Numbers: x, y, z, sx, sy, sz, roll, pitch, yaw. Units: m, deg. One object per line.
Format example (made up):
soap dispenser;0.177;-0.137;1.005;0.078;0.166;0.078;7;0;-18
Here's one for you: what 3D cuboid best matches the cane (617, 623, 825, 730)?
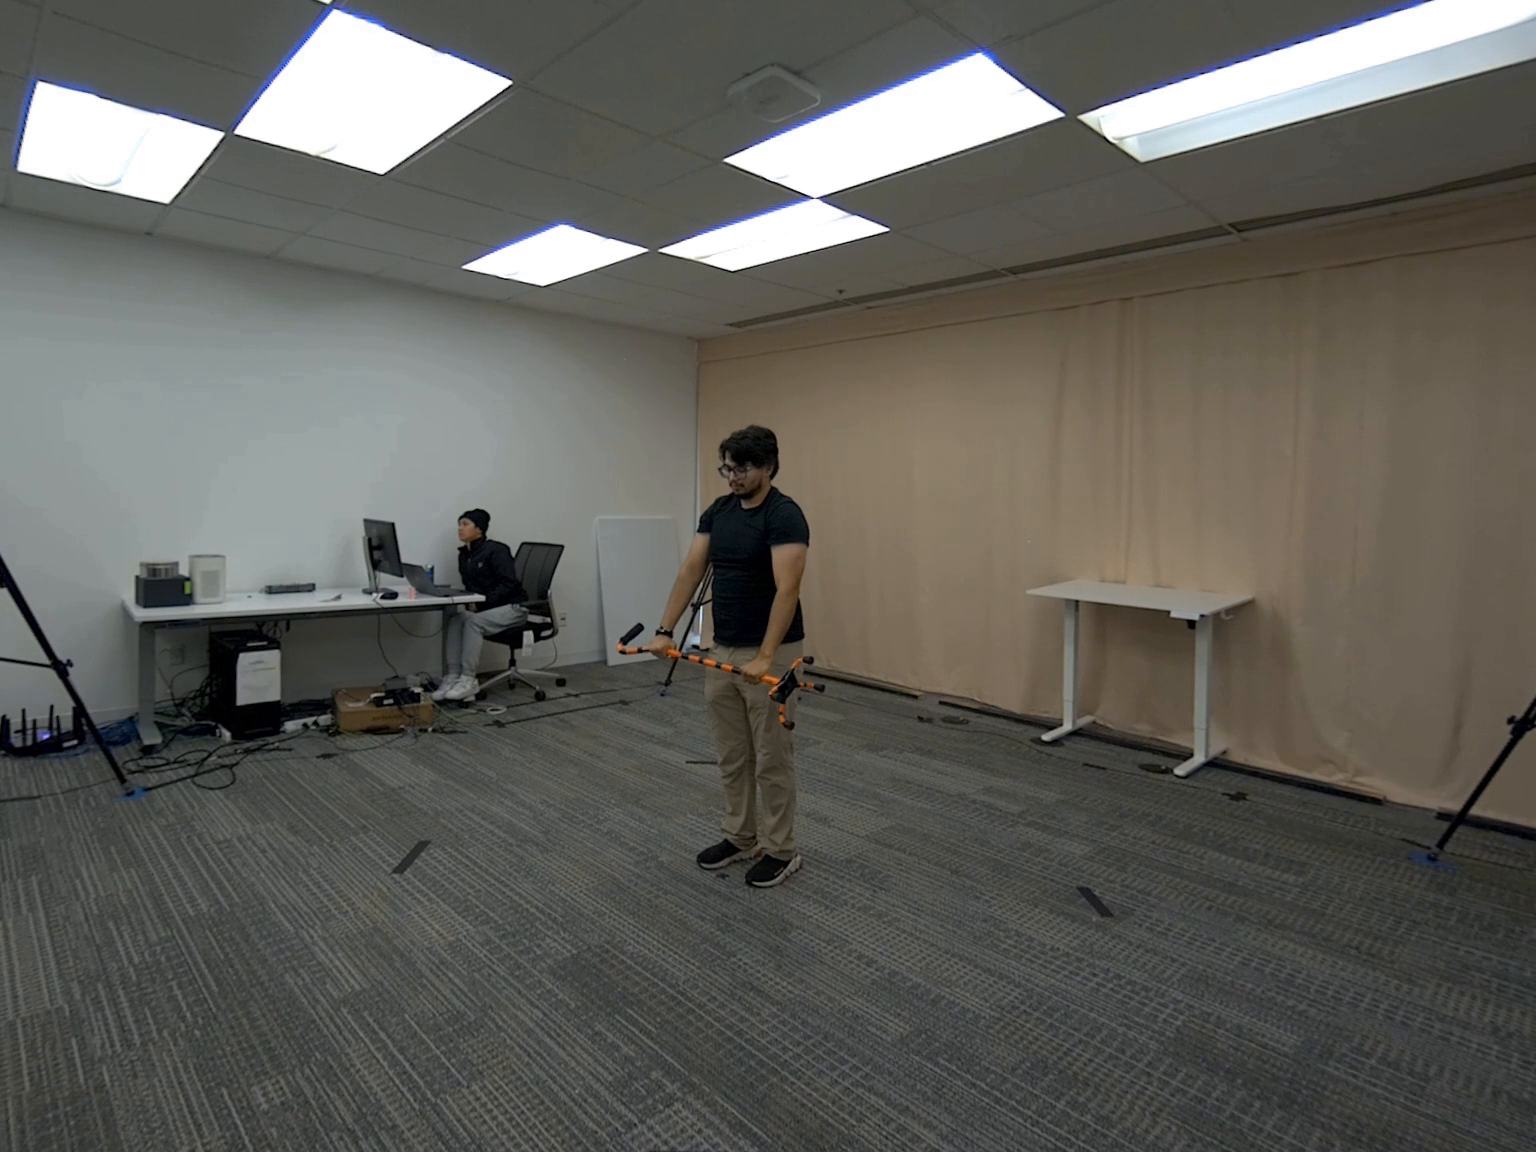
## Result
cane;-0.243;0.315;2.981;0.933;0.148;0.206;10;41;44
